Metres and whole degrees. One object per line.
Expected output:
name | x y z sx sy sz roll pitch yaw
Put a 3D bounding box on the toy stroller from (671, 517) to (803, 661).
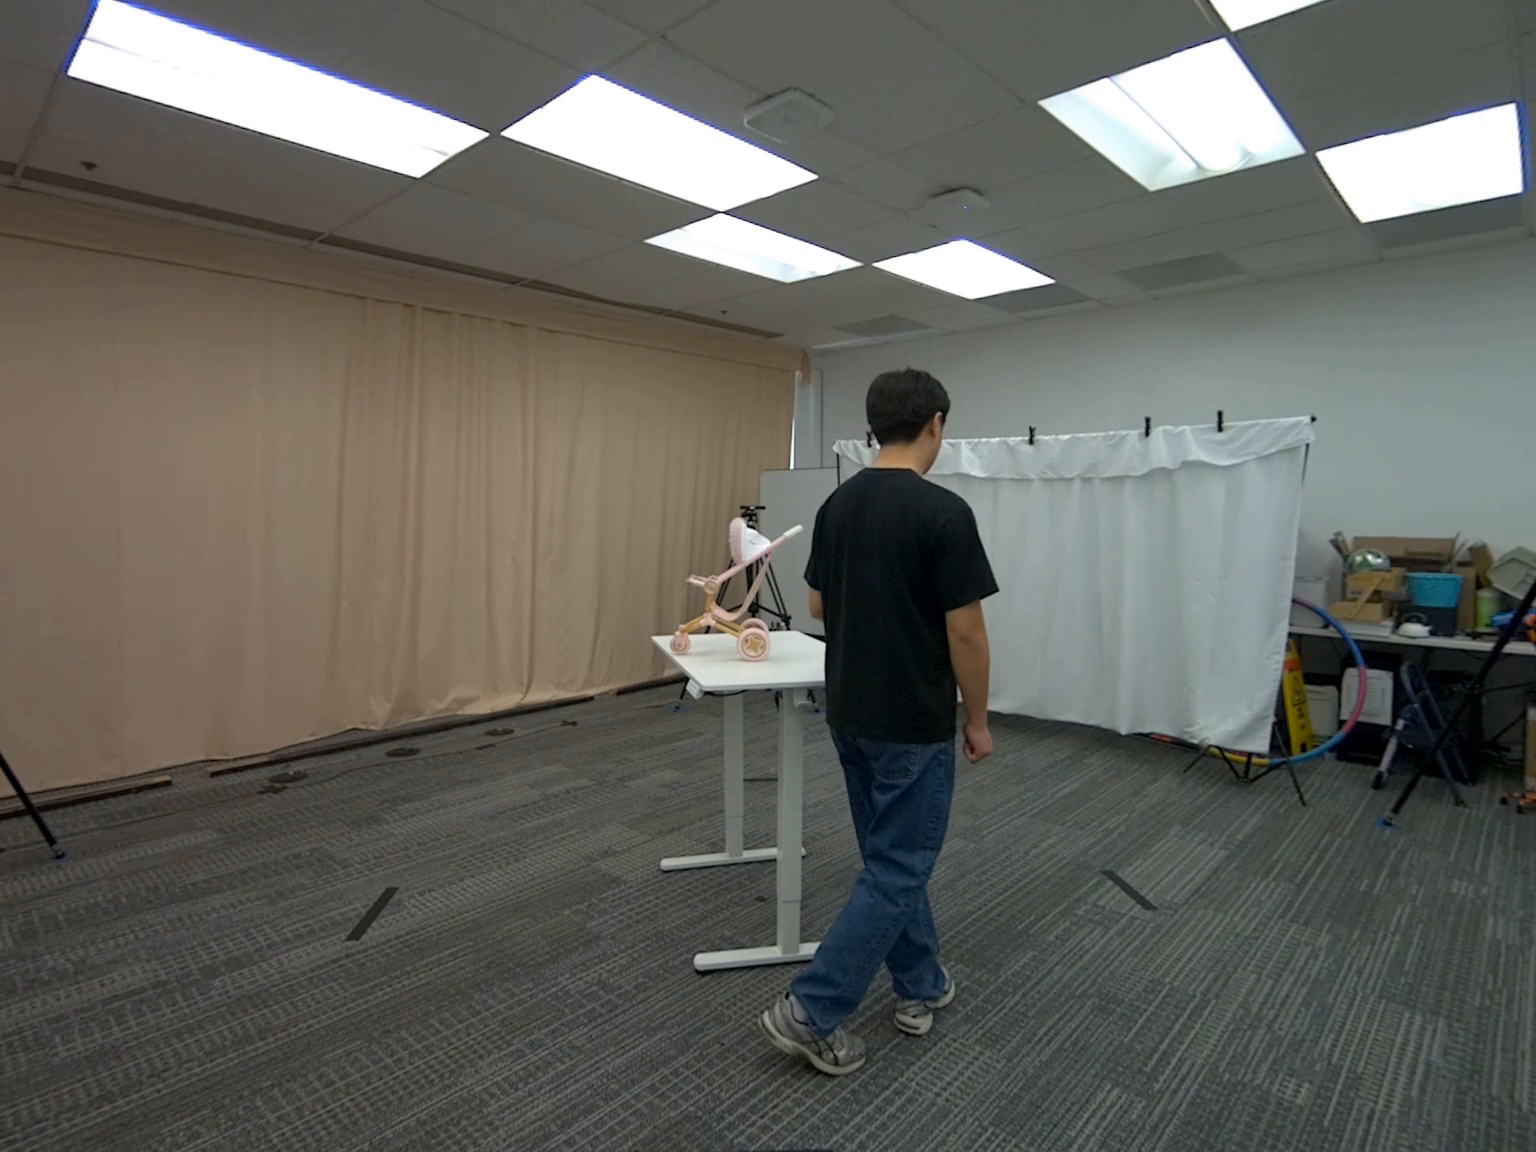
toy stroller | -0.115 0.046 2.870 0.344 0.534 0.279 15 4 6
